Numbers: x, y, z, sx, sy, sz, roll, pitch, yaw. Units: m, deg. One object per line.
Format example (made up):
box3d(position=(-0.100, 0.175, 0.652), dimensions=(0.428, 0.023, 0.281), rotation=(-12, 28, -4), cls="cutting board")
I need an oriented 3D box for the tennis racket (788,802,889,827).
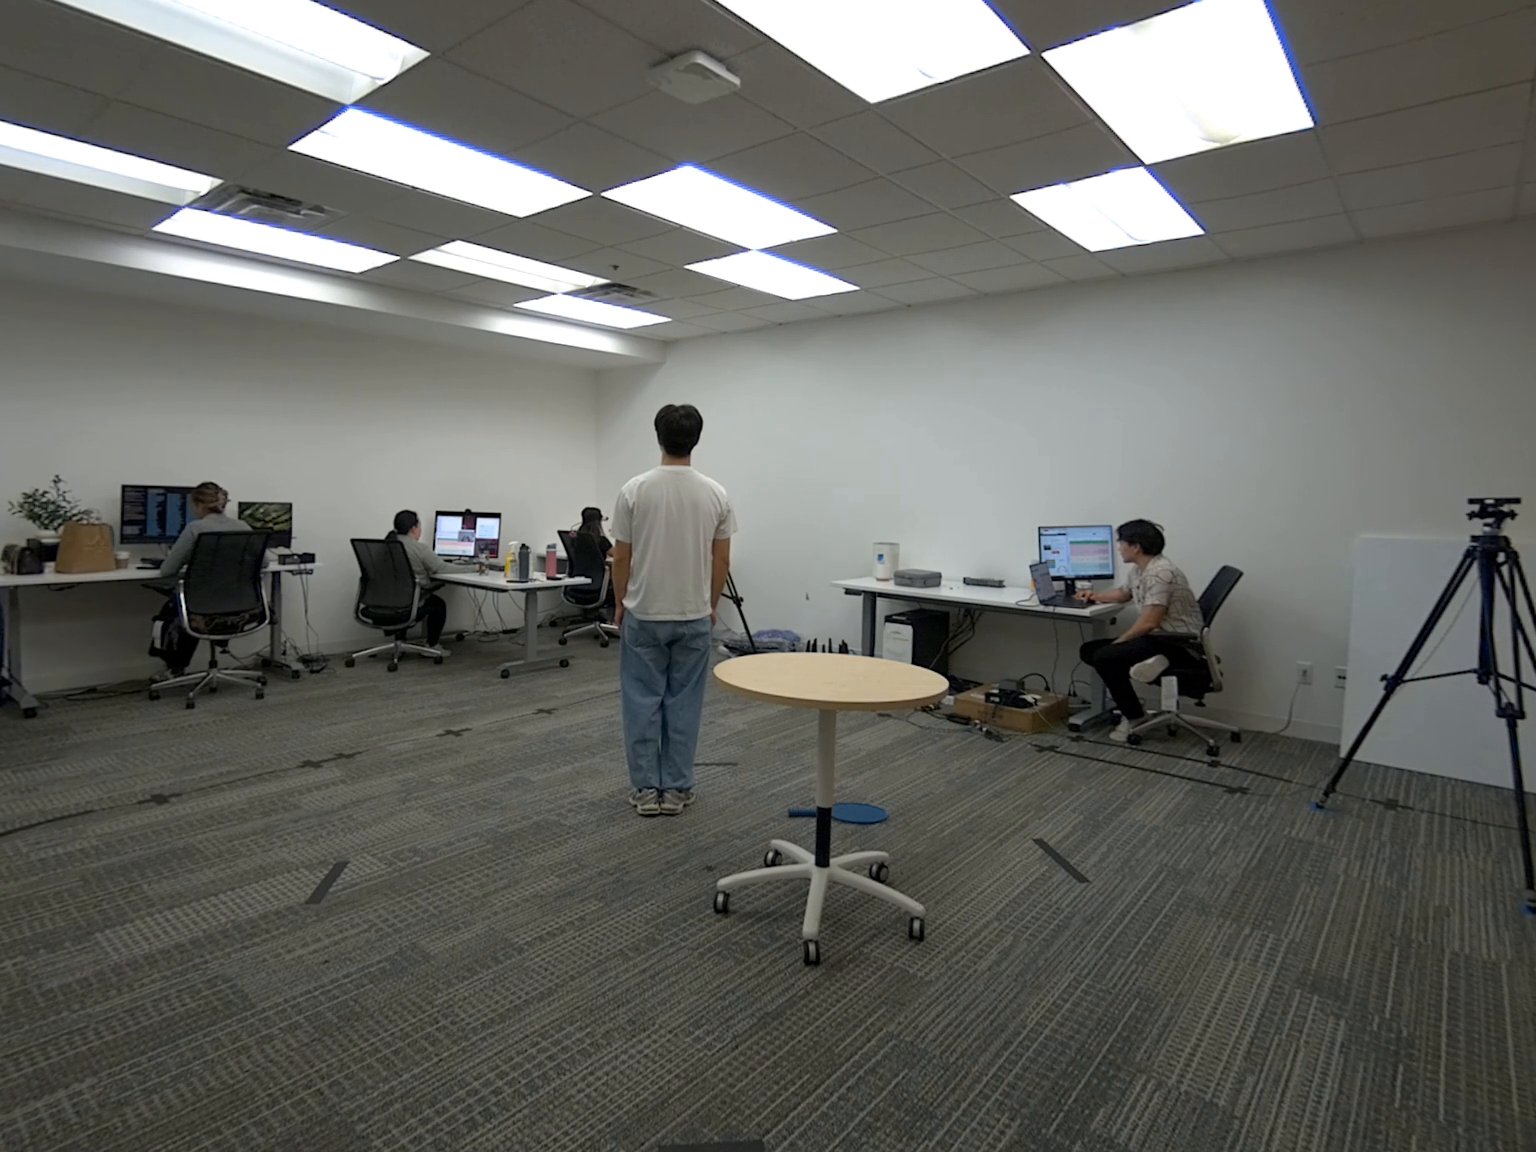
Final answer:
box3d(position=(0.291, 1.009, 3.651), dimensions=(0.431, 0.031, 0.216), rotation=(2, 6, -5), cls="tennis racket")
